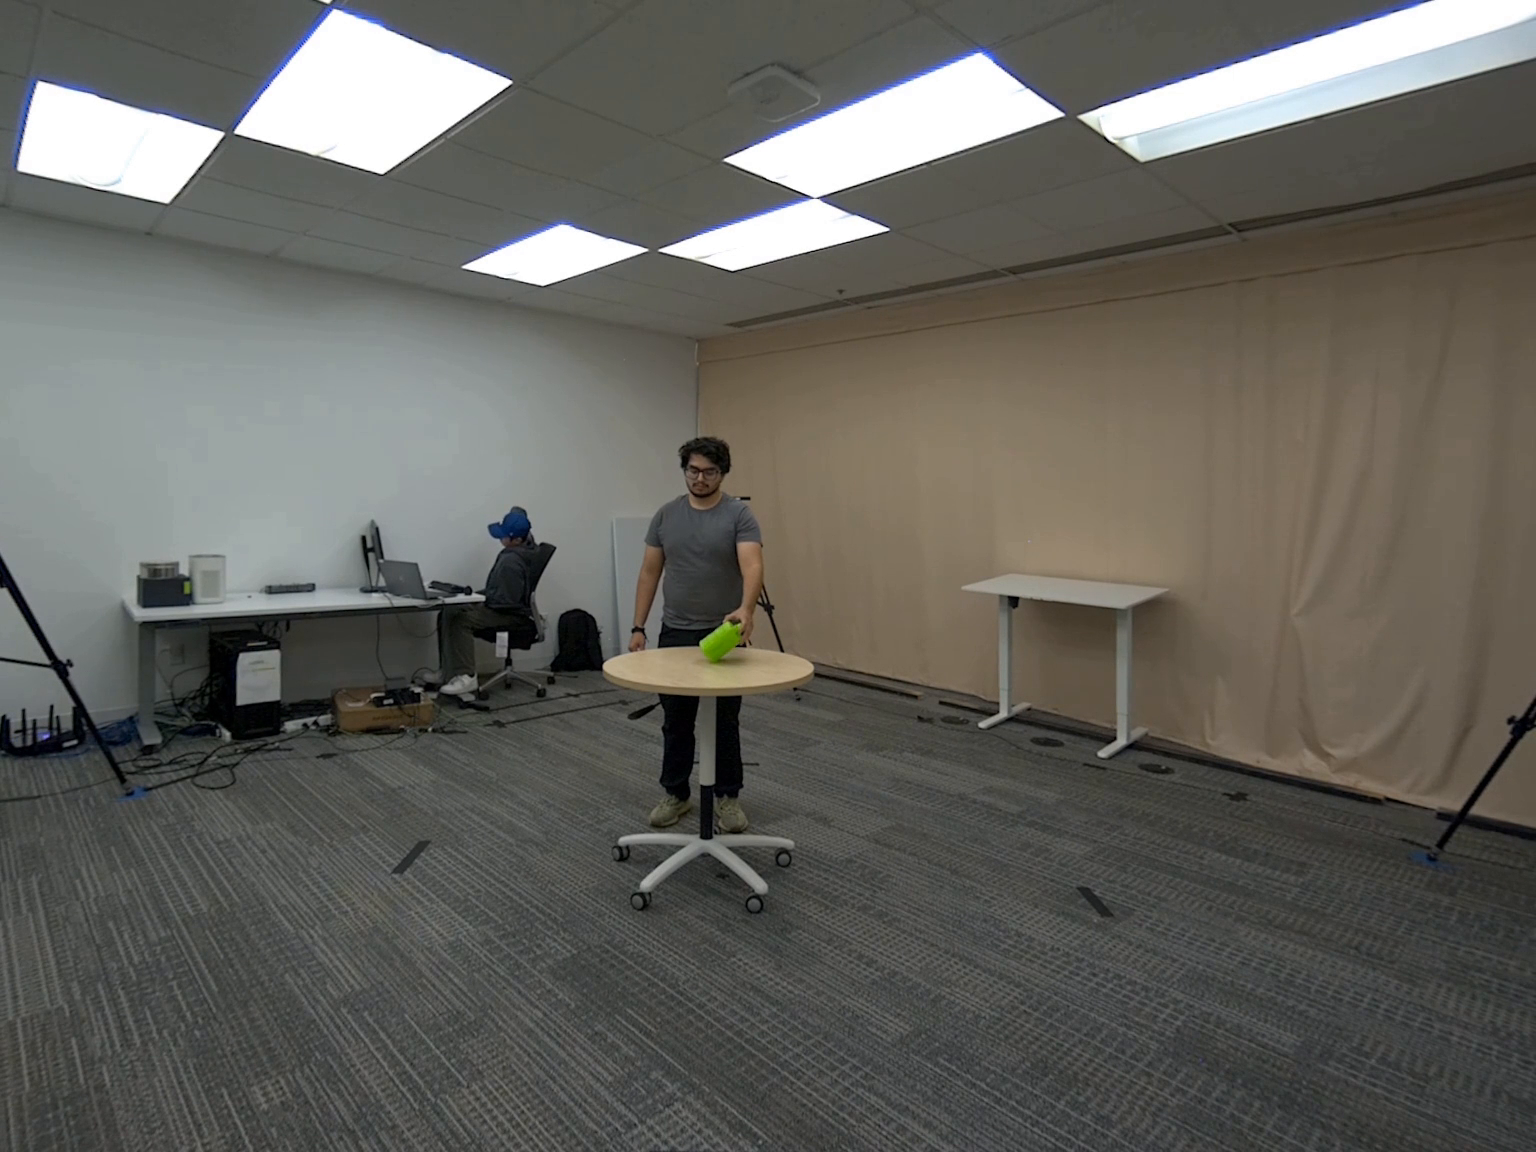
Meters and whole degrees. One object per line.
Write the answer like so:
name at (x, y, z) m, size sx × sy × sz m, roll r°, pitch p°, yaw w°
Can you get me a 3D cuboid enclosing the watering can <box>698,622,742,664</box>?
watering can at (-0.182, 0.224, 3.073) m, size 0.177 × 0.100 × 0.272 m, roll -38°, pitch -19°, yaw 6°
